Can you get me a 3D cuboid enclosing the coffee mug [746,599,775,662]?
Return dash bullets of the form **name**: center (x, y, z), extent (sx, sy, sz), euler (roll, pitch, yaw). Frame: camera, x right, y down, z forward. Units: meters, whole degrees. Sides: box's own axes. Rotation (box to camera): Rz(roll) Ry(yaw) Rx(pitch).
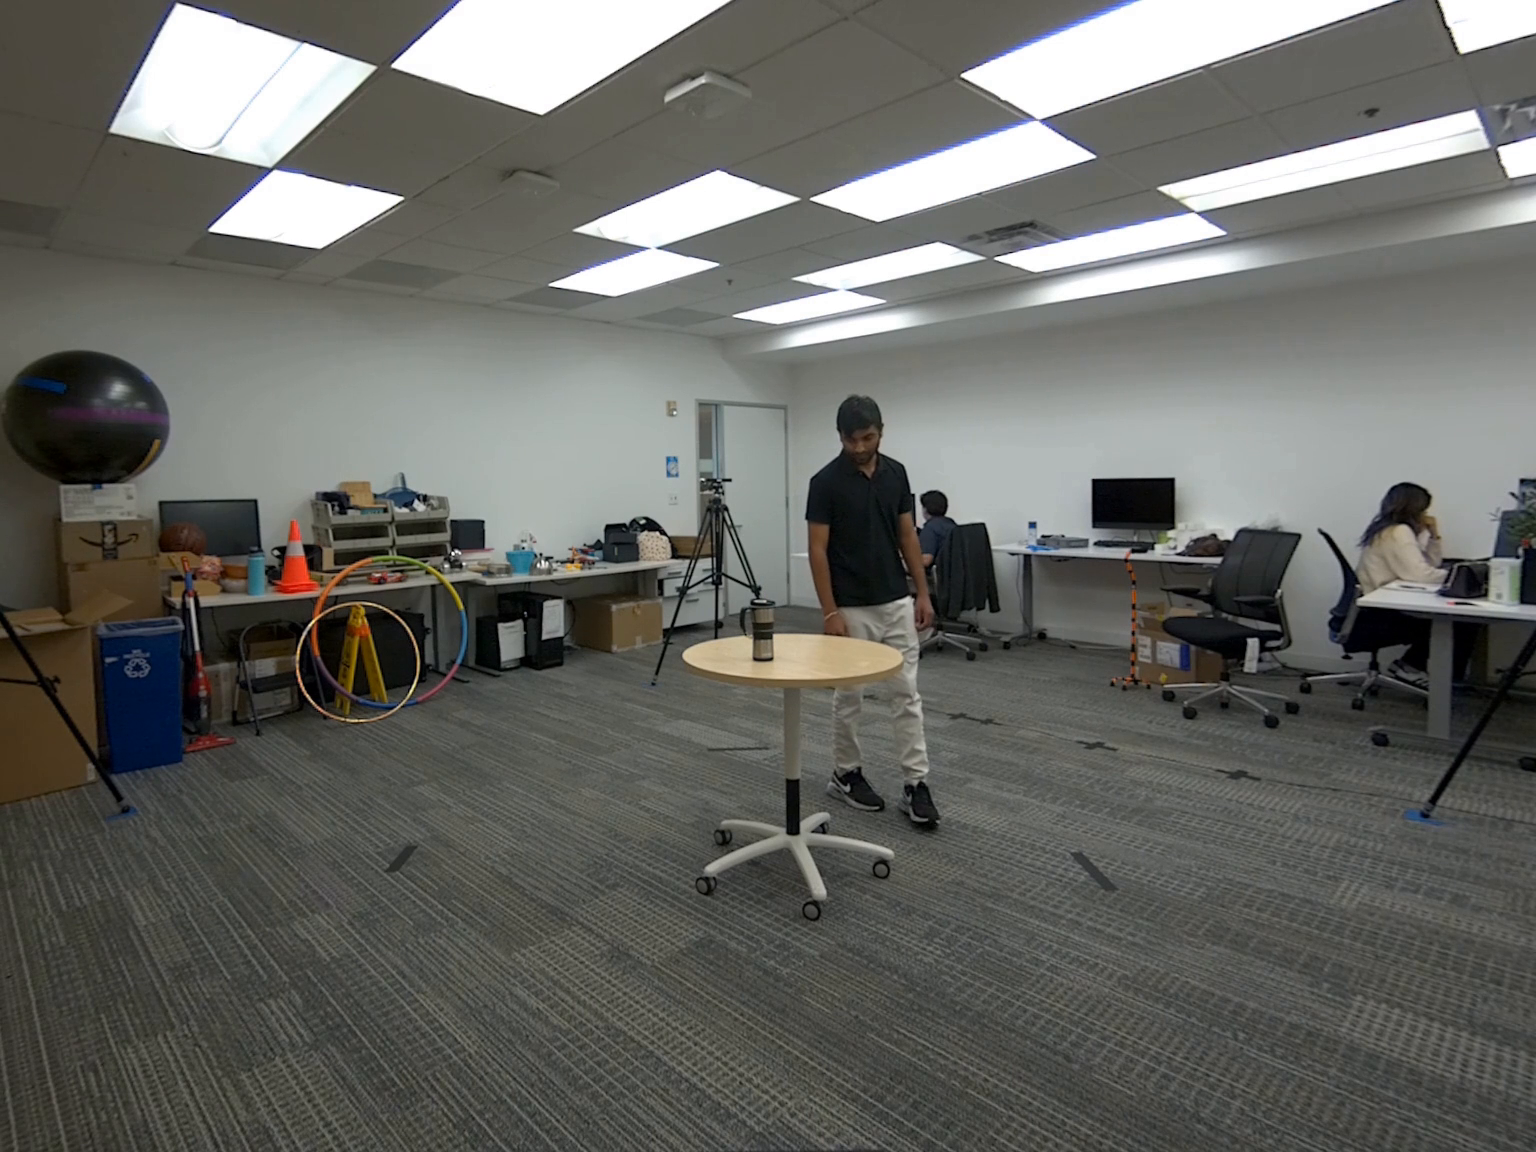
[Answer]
- **coffee mug**: center (-0.003, 0.188, 2.892), extent (0.119, 0.202, 0.090), euler (-7, 6, -31)
